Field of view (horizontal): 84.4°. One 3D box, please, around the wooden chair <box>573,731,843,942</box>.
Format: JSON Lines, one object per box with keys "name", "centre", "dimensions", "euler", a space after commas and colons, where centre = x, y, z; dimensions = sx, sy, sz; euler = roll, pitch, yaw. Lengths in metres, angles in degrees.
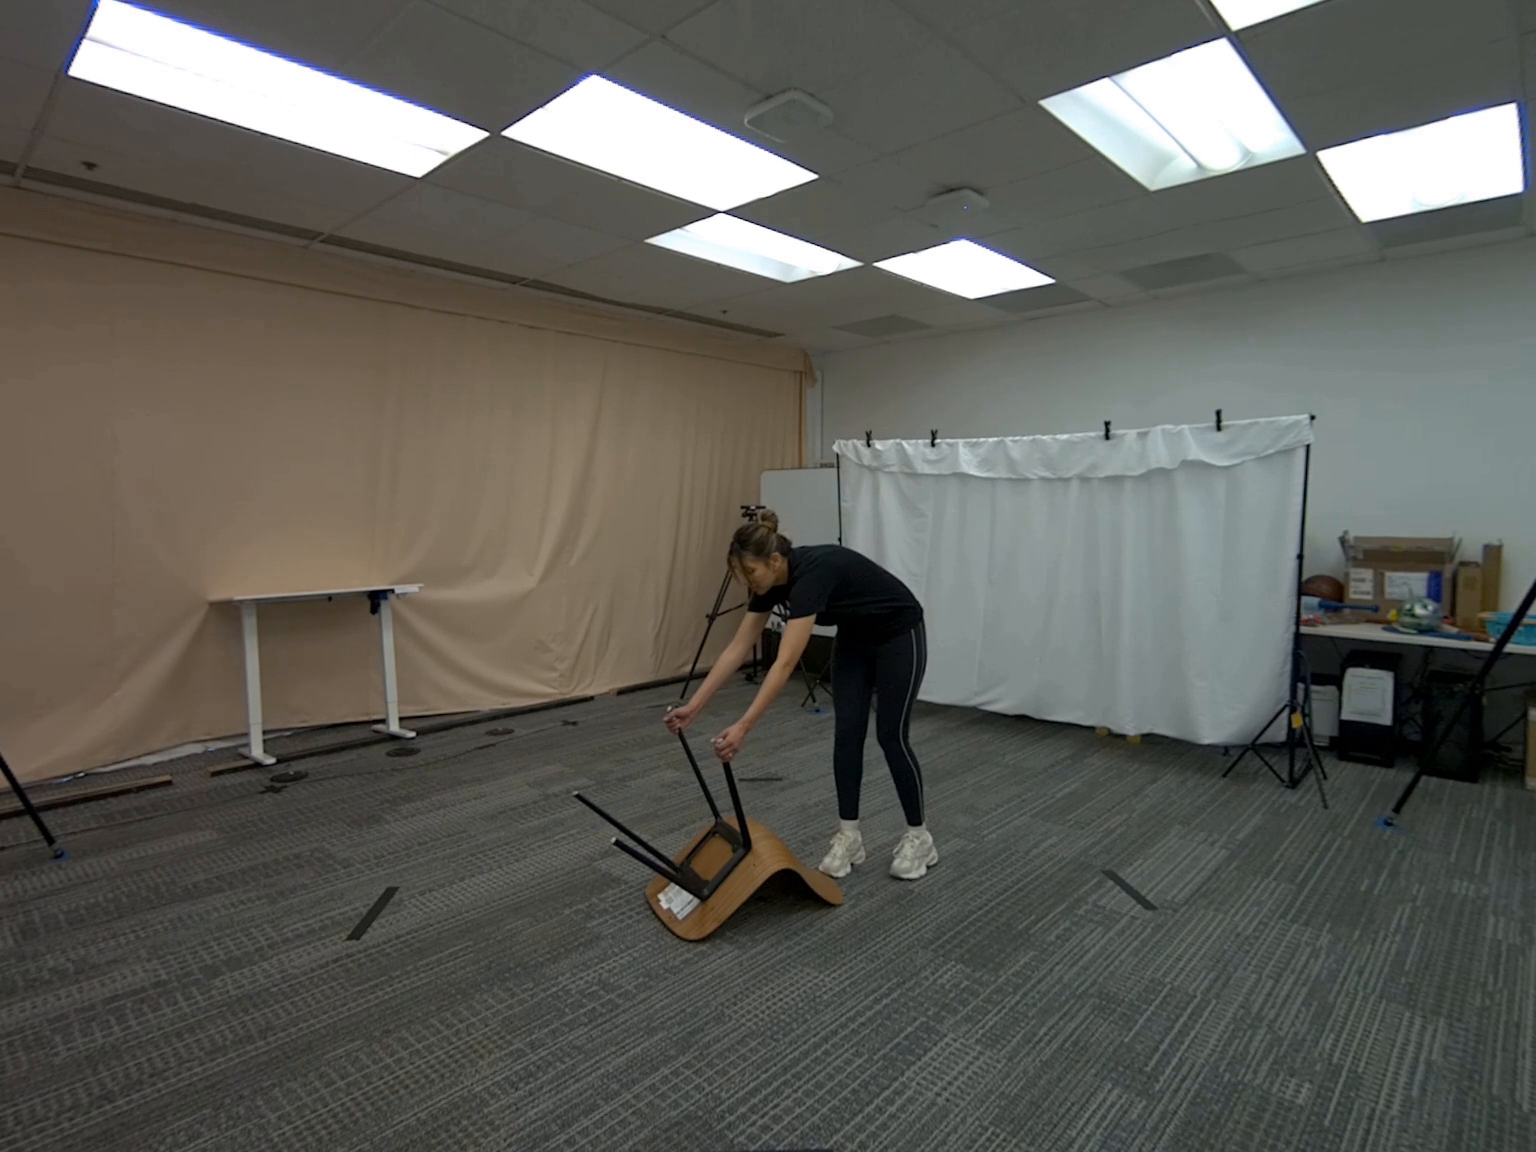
{"name": "wooden chair", "centre": [-0.197, 0.978, 2.915], "dimensions": [0.520, 0.859, 0.491], "euler": [-44, 20, -17]}
